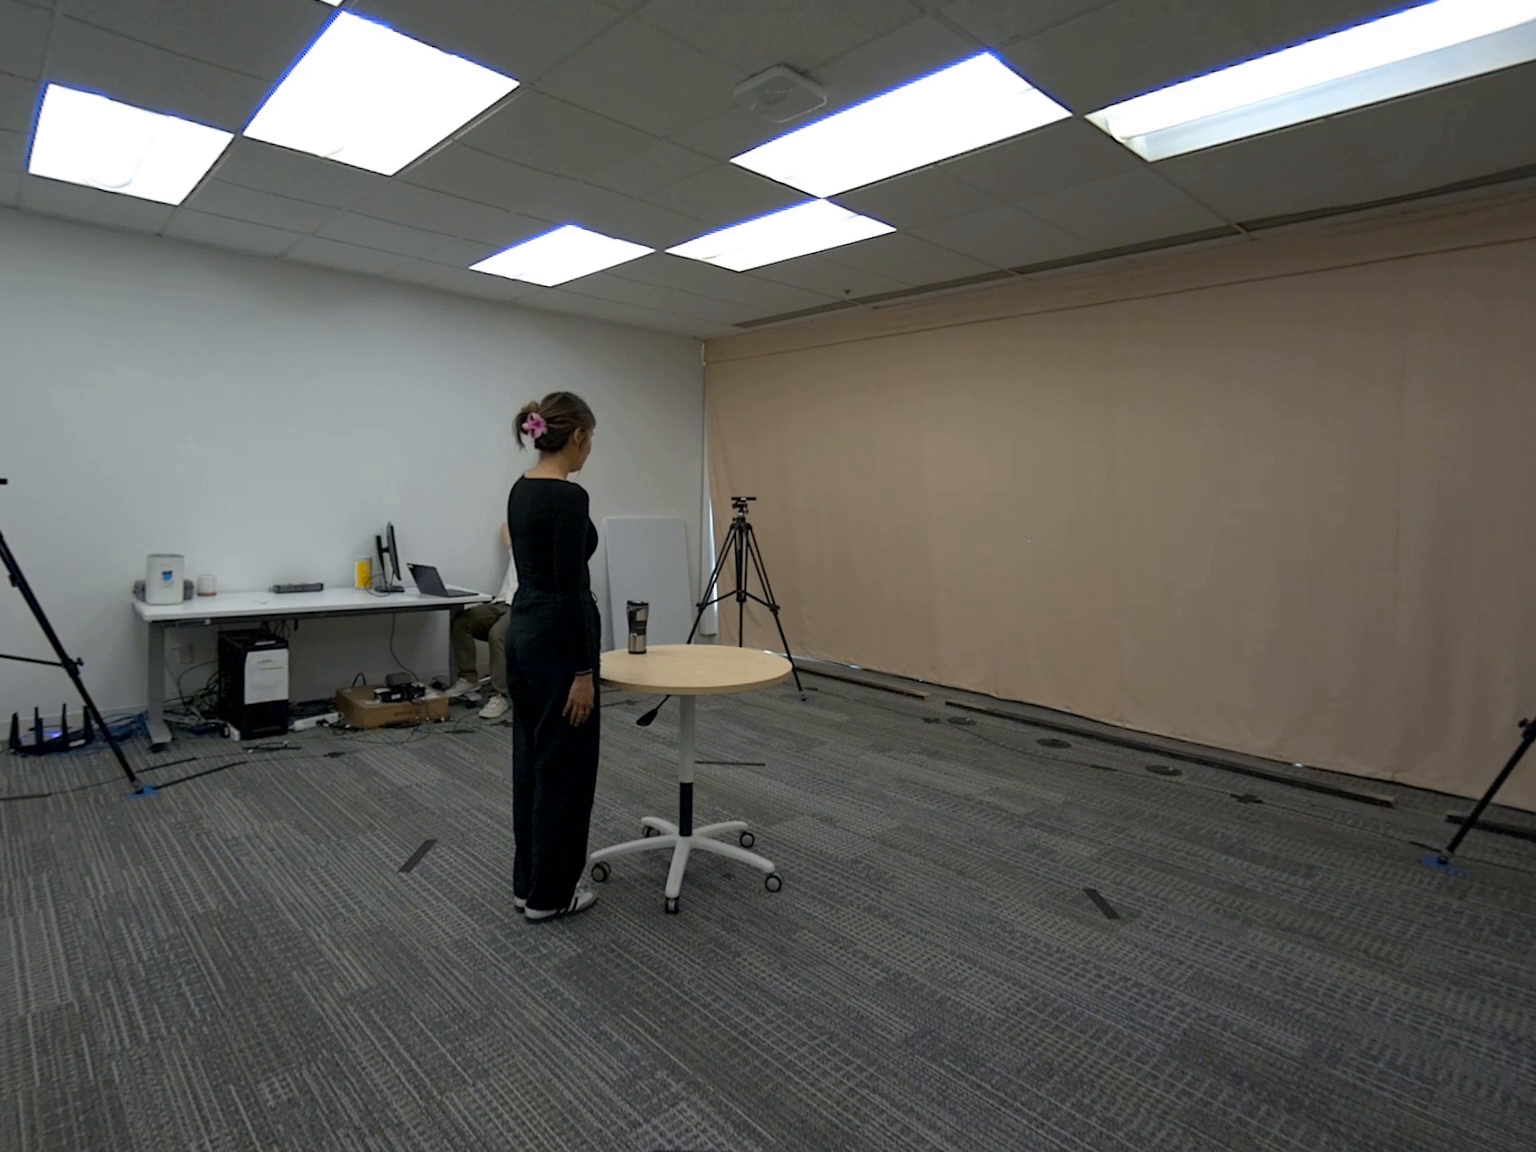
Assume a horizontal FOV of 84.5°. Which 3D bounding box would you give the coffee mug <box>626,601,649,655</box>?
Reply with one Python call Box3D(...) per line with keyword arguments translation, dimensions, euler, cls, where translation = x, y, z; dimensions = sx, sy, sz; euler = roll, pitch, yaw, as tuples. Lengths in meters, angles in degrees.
Box3D(translation=(-0.537, 0.202, 3.265), dimensions=(0.090, 0.202, 0.119), euler=(8, 4, 43), cls="coffee mug")
